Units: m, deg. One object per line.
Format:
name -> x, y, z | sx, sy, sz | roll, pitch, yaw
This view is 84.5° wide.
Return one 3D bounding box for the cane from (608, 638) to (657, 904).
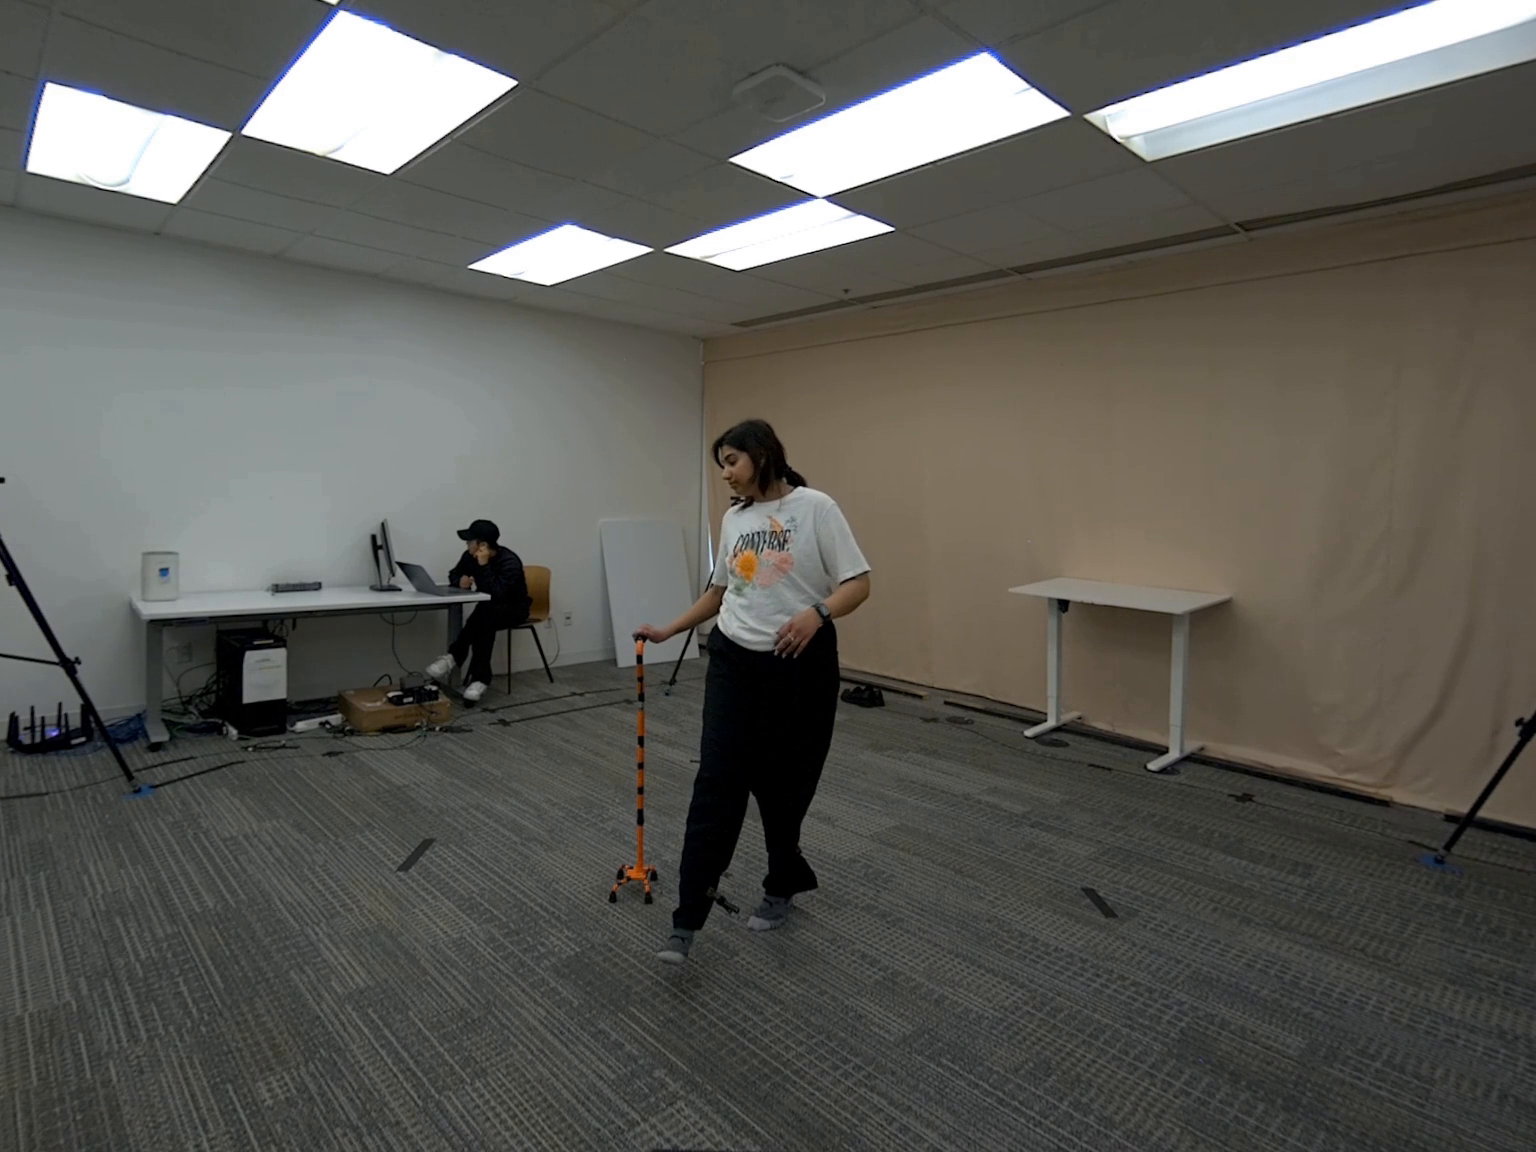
cane -> -0.471, 0.661, 2.950 | 0.152, 0.906, 0.207 | 1, 2, 0
